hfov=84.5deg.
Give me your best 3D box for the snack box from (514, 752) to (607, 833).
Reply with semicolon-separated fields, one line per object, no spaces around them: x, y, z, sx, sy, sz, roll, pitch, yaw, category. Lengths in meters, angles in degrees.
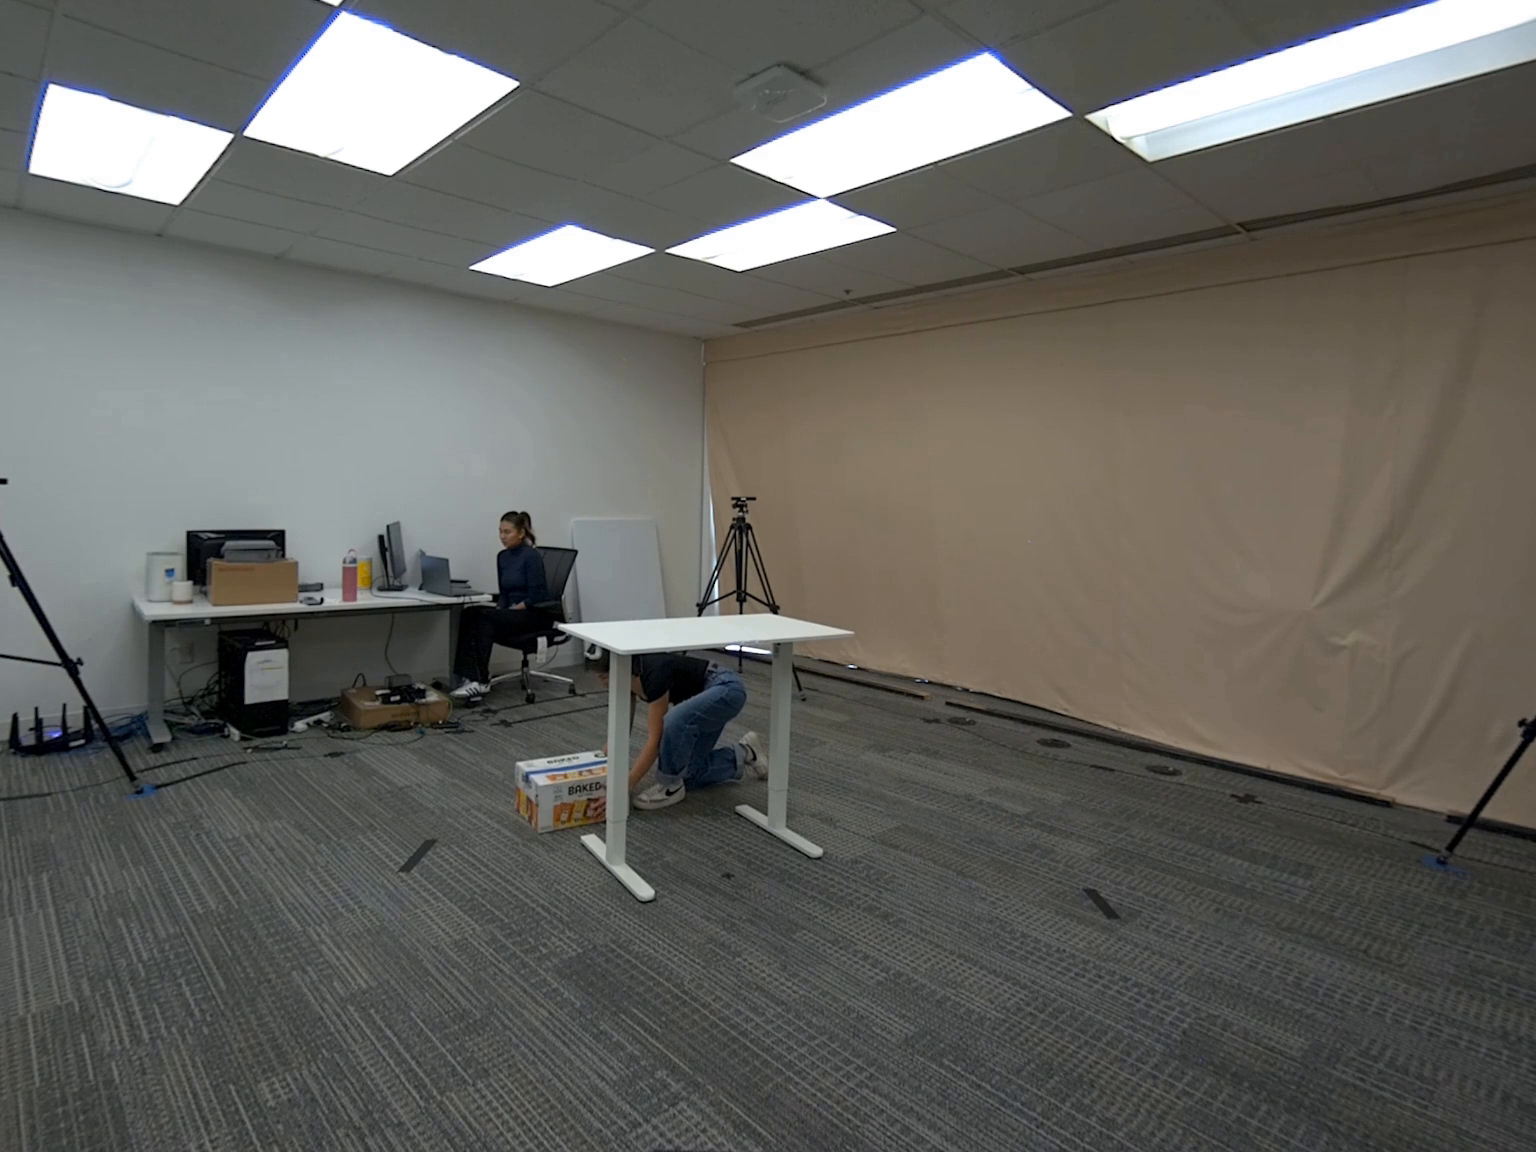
-0.872;0.935;3.690;0.397;0.205;0.348;-2;5;-32;snack box
